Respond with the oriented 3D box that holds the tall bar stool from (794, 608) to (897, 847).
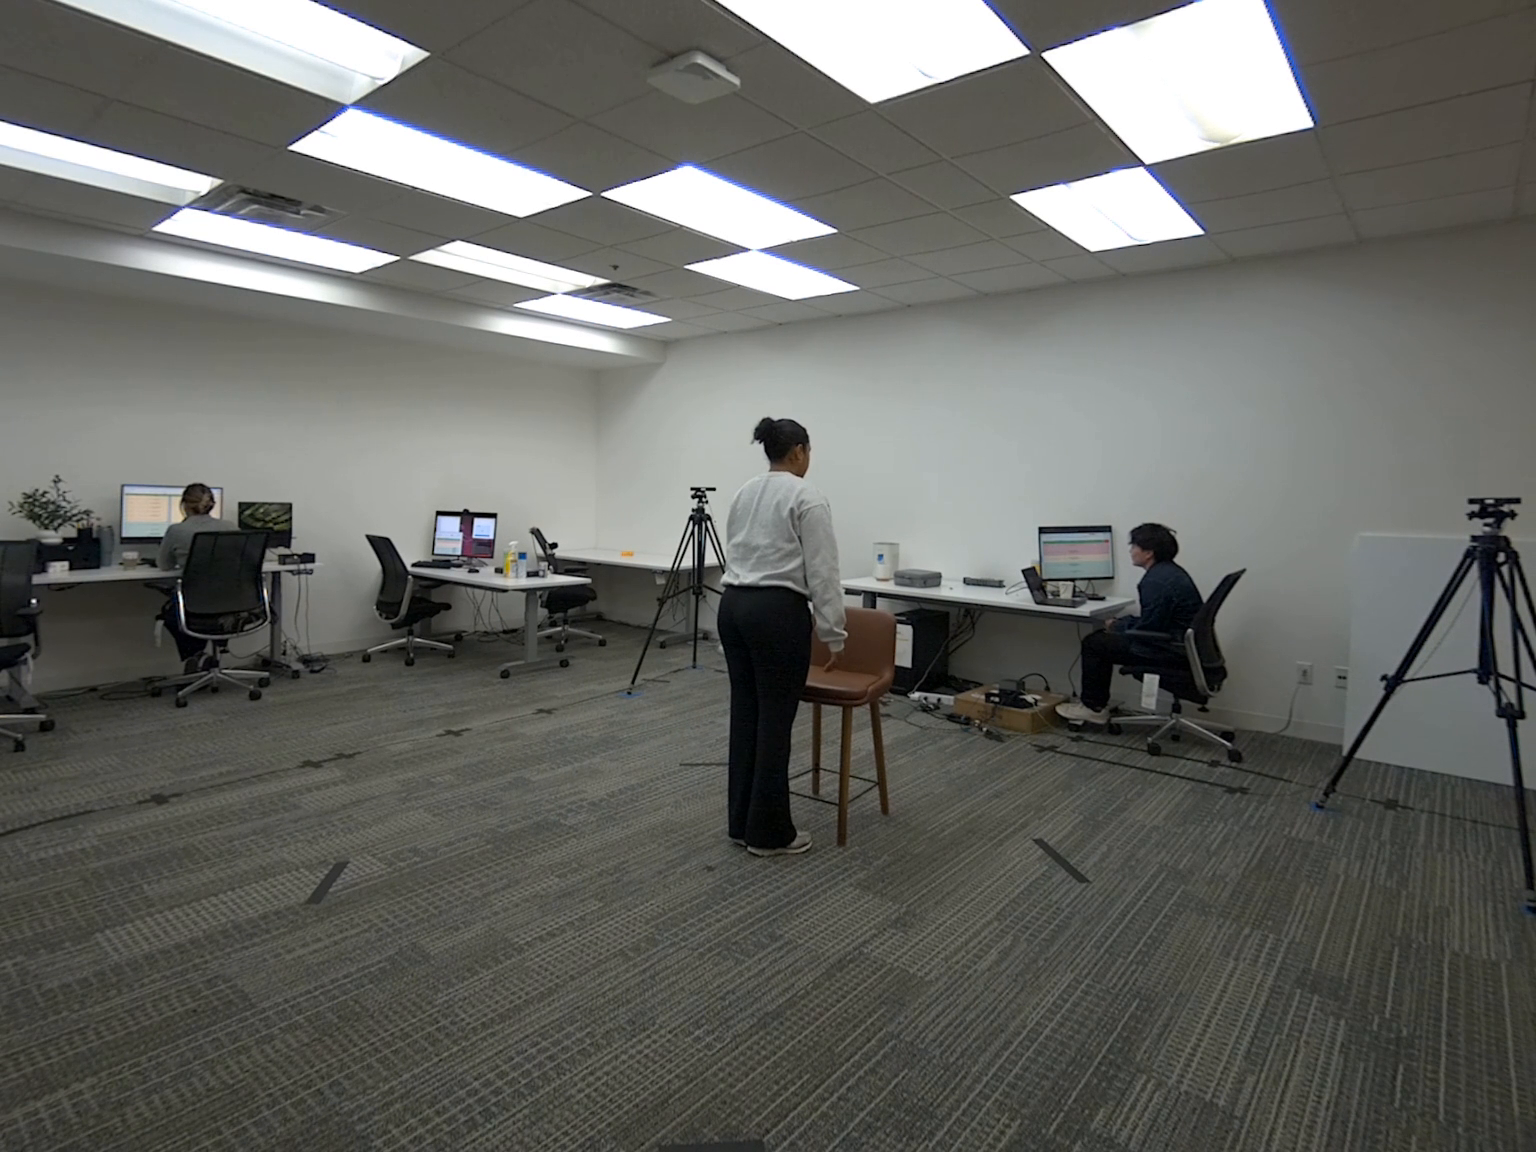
[{"bbox_3d":[0.257,0.587,3.610,0.471,0.889,0.453,4,2,35],"label":"tall bar stool"}]
